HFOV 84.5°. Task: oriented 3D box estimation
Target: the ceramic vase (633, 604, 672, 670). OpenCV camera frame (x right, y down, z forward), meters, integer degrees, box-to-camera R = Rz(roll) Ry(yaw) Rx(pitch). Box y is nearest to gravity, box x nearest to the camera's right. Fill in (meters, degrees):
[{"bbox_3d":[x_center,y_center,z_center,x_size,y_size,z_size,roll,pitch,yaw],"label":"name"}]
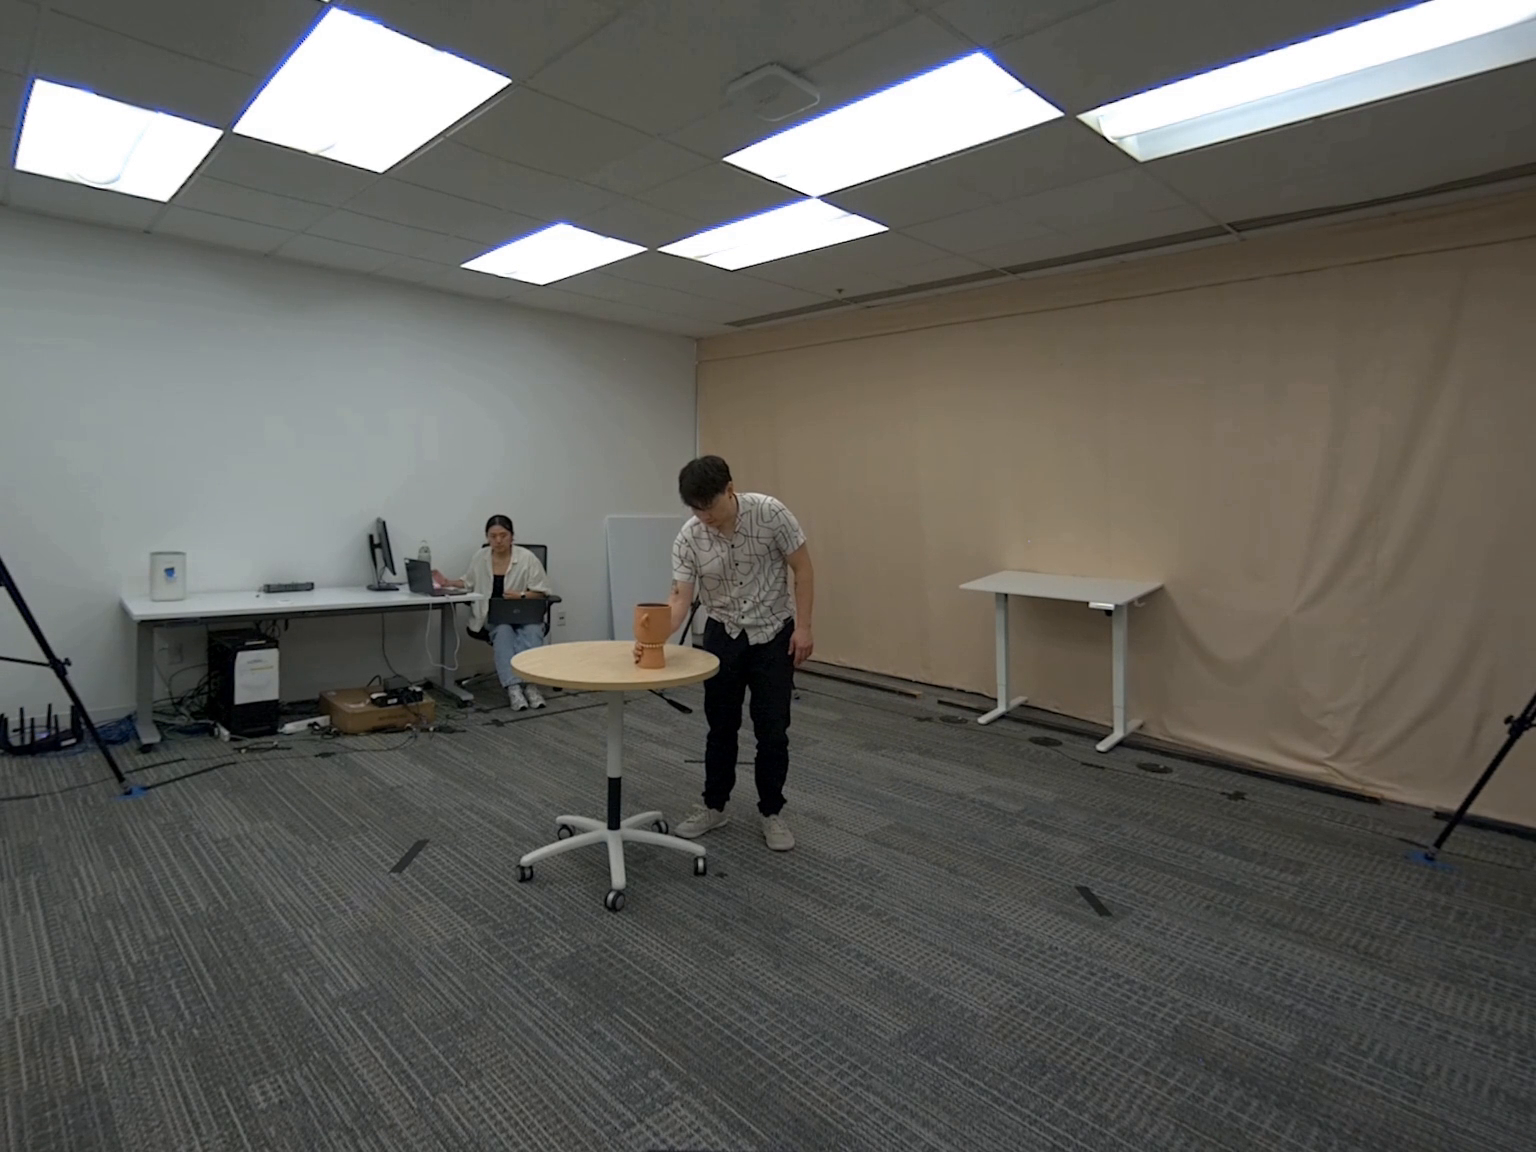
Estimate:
[{"bbox_3d":[-0.426,0.215,3.014,0.155,0.219,0.138,-1,5,-38],"label":"ceramic vase"}]
